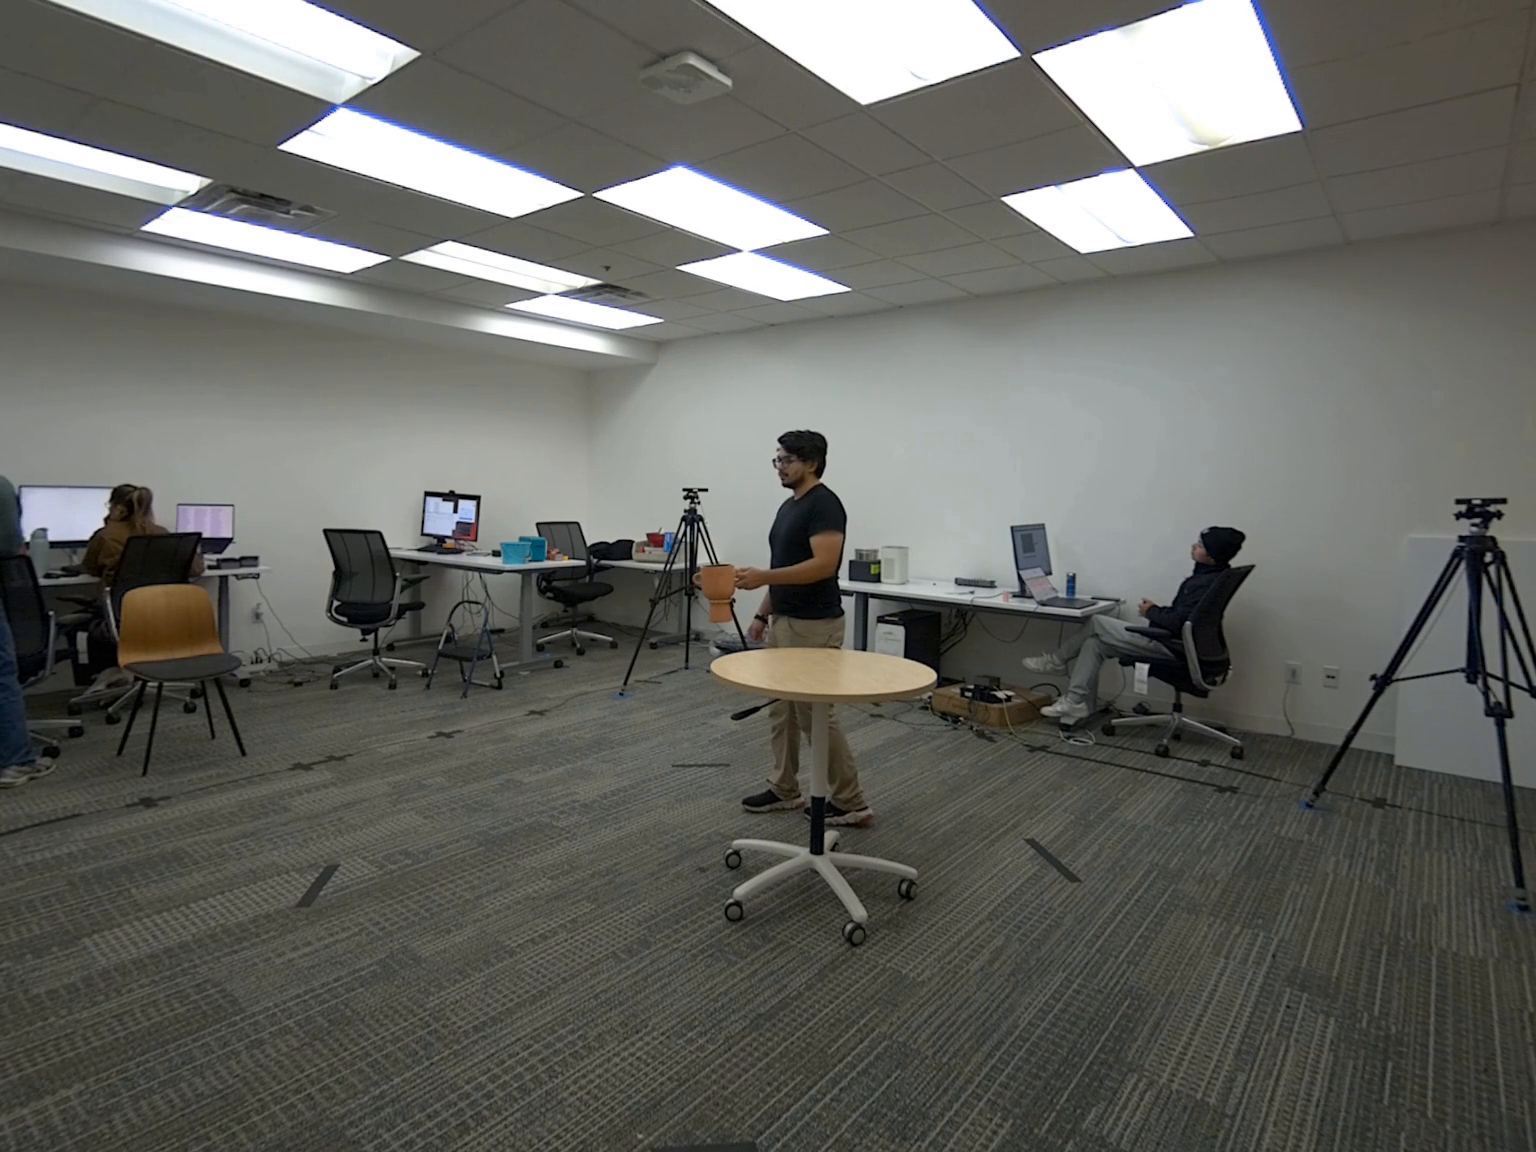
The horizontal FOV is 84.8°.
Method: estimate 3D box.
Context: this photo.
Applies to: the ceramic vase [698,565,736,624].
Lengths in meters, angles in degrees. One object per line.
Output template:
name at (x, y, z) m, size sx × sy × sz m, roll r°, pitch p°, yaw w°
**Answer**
ceramic vase at (-0.202, 0.065, 3.378) m, size 0.164 × 0.219 × 0.131 m, roll 0°, pitch 4°, yaw 39°
